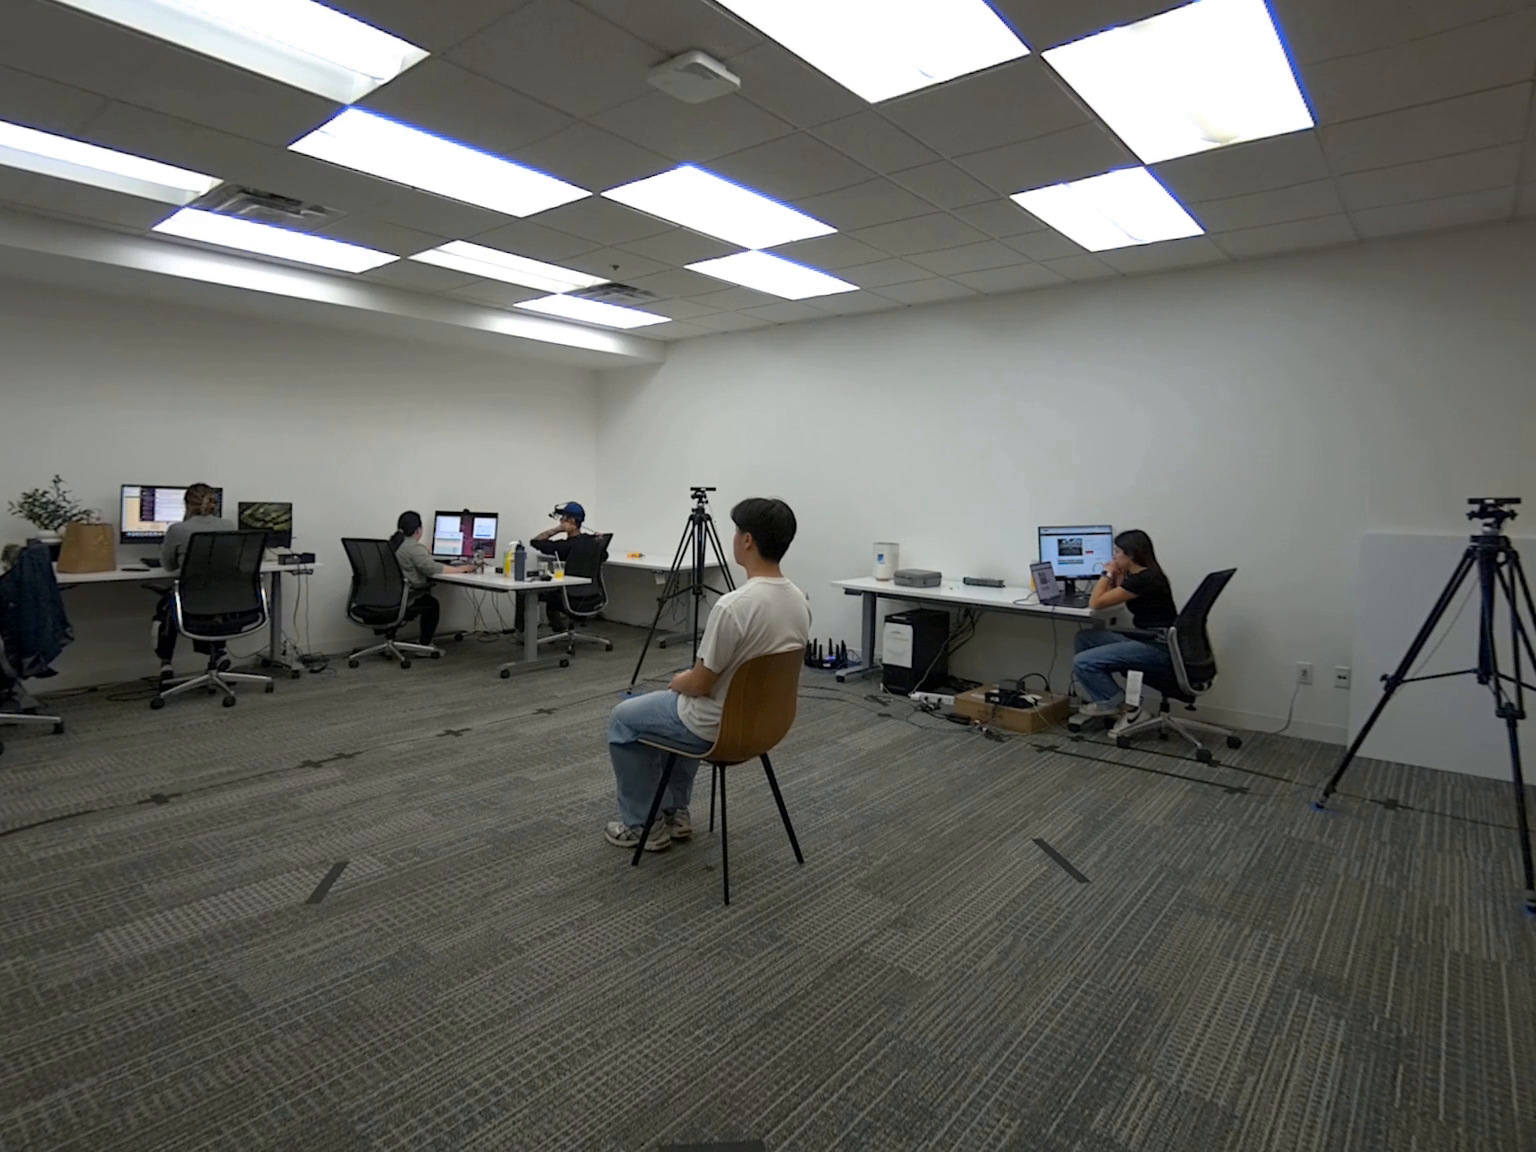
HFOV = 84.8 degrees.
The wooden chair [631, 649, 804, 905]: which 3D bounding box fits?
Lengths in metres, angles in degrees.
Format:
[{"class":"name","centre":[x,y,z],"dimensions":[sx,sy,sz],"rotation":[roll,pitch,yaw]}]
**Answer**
[{"class":"wooden chair","centre":[-0.183,0.639,3.119],"dimensions":[0.542,0.873,0.463],"rotation":[10,7,38]}]
